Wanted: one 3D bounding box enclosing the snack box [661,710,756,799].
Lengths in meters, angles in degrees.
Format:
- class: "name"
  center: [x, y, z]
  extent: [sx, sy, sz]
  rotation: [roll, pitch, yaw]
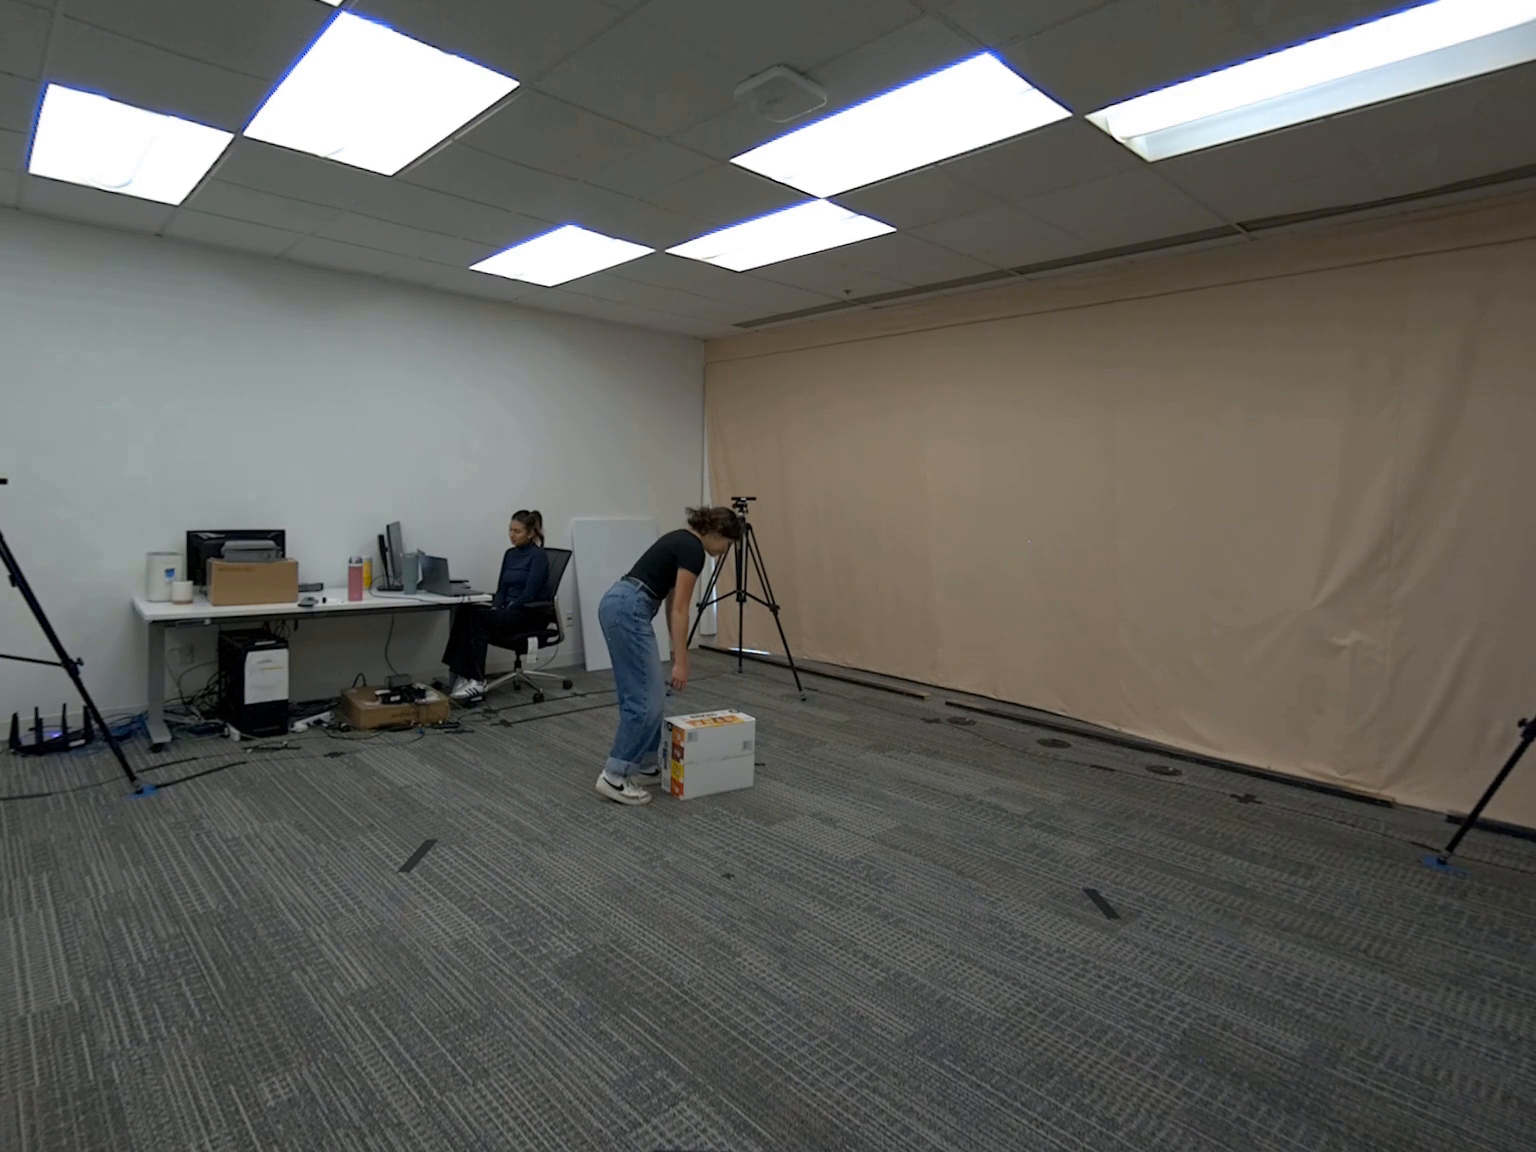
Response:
- class: "snack box"
  center: [-0.296, 0.852, 4.055]
  extent: [0.396, 0.339, 0.211]
  rotation: [-1, 6, -35]
